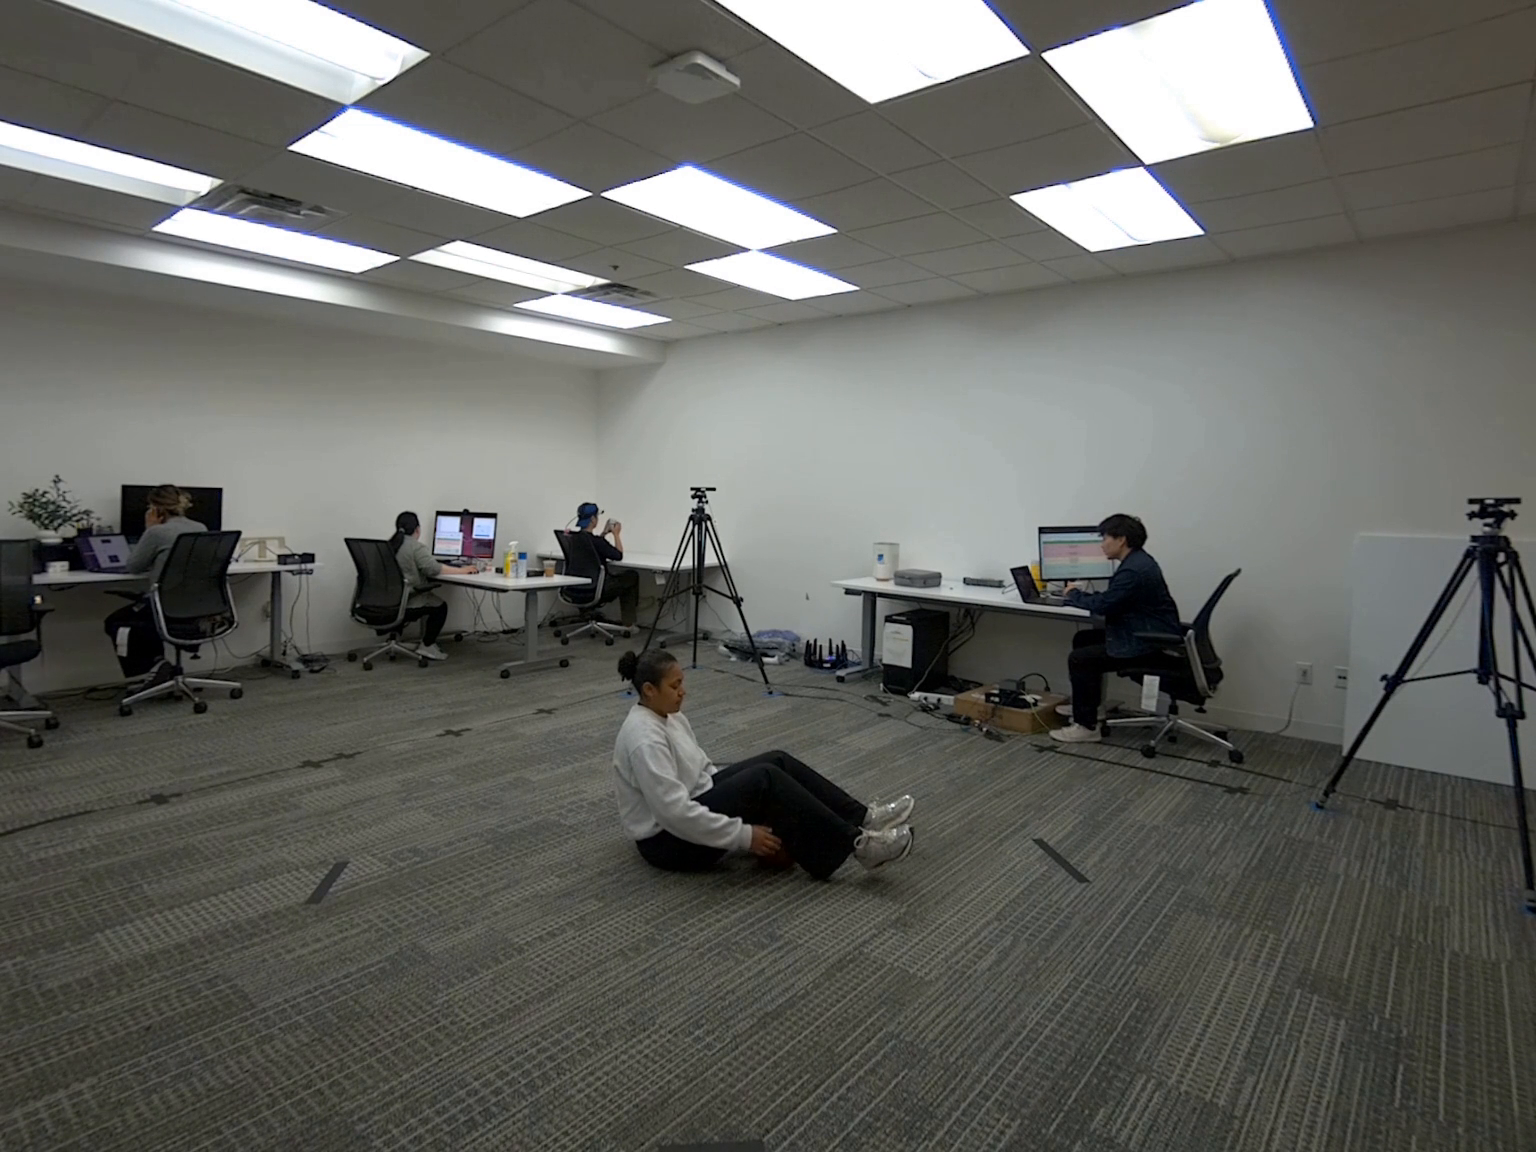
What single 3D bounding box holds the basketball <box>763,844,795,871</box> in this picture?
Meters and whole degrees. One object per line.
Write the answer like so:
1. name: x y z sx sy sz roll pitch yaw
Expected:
1. basketball: 0.025 0.942 3.149 0.235 0.235 0.237 1 4 -2
